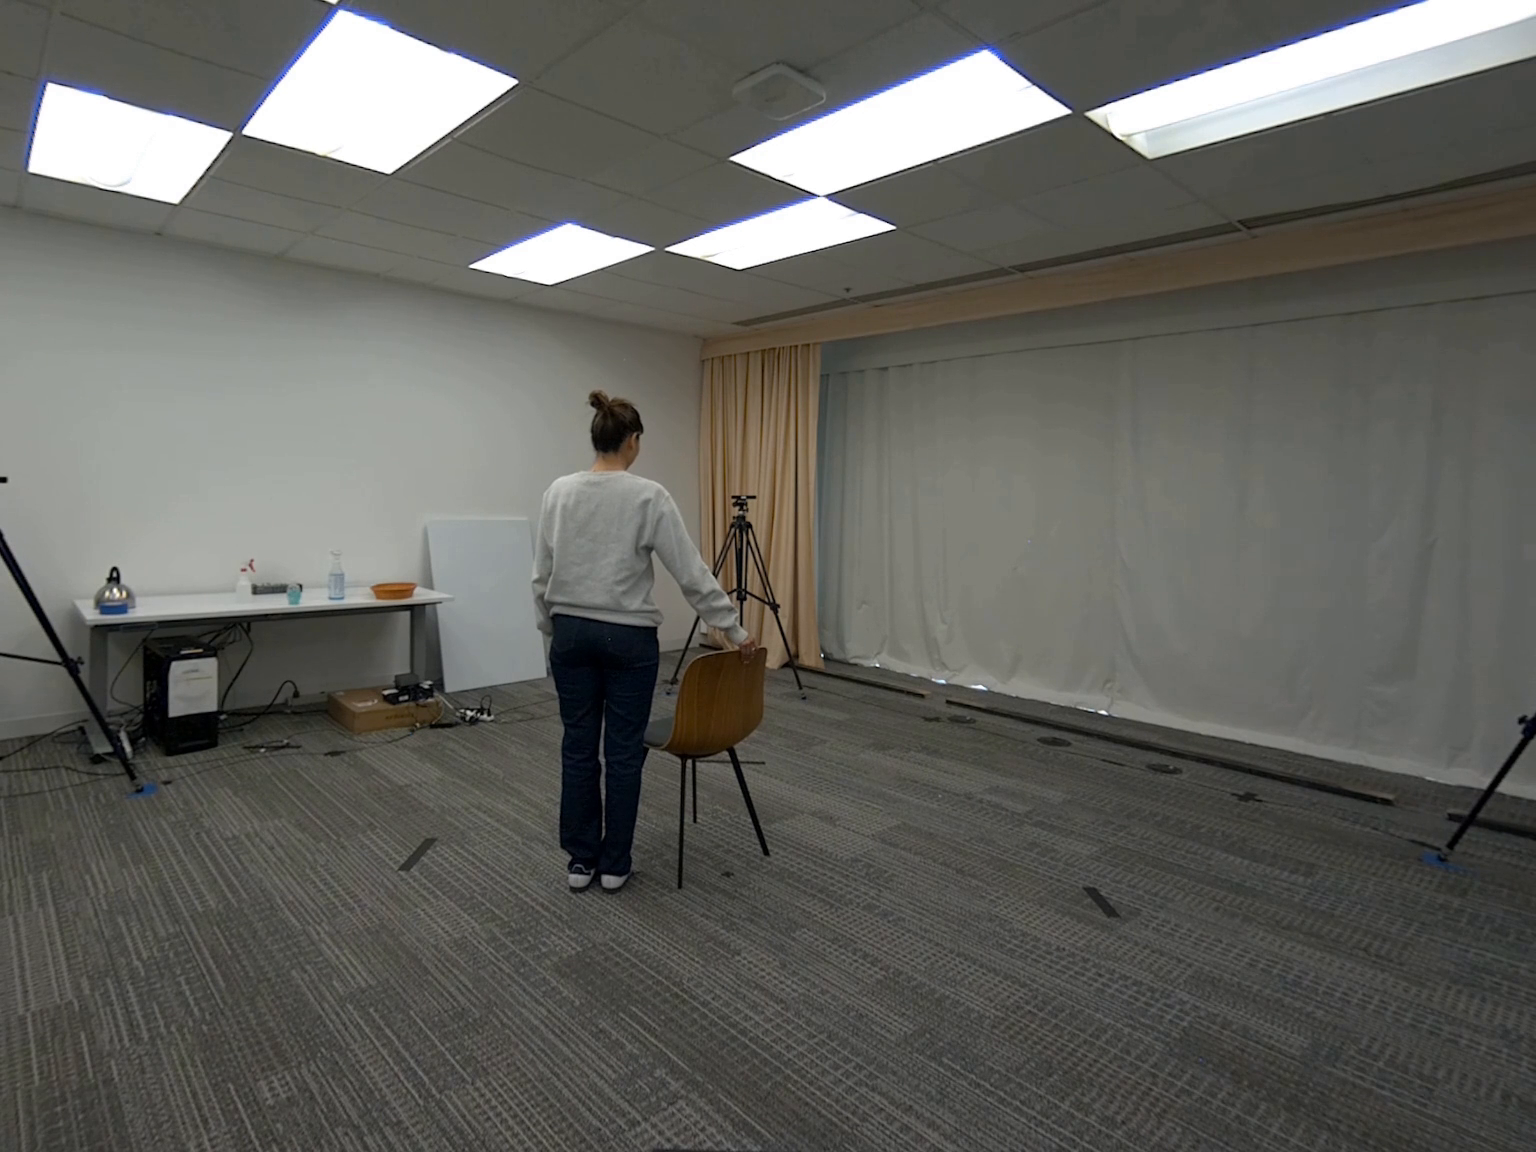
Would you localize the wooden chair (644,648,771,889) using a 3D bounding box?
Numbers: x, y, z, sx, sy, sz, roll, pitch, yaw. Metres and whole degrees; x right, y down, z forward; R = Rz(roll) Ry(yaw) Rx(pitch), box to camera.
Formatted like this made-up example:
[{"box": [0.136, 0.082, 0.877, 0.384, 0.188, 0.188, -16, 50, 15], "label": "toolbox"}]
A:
[{"box": [-0.307, 0.657, 3.267, 0.467, 0.873, 0.537, -2, 9, -43], "label": "wooden chair"}]
